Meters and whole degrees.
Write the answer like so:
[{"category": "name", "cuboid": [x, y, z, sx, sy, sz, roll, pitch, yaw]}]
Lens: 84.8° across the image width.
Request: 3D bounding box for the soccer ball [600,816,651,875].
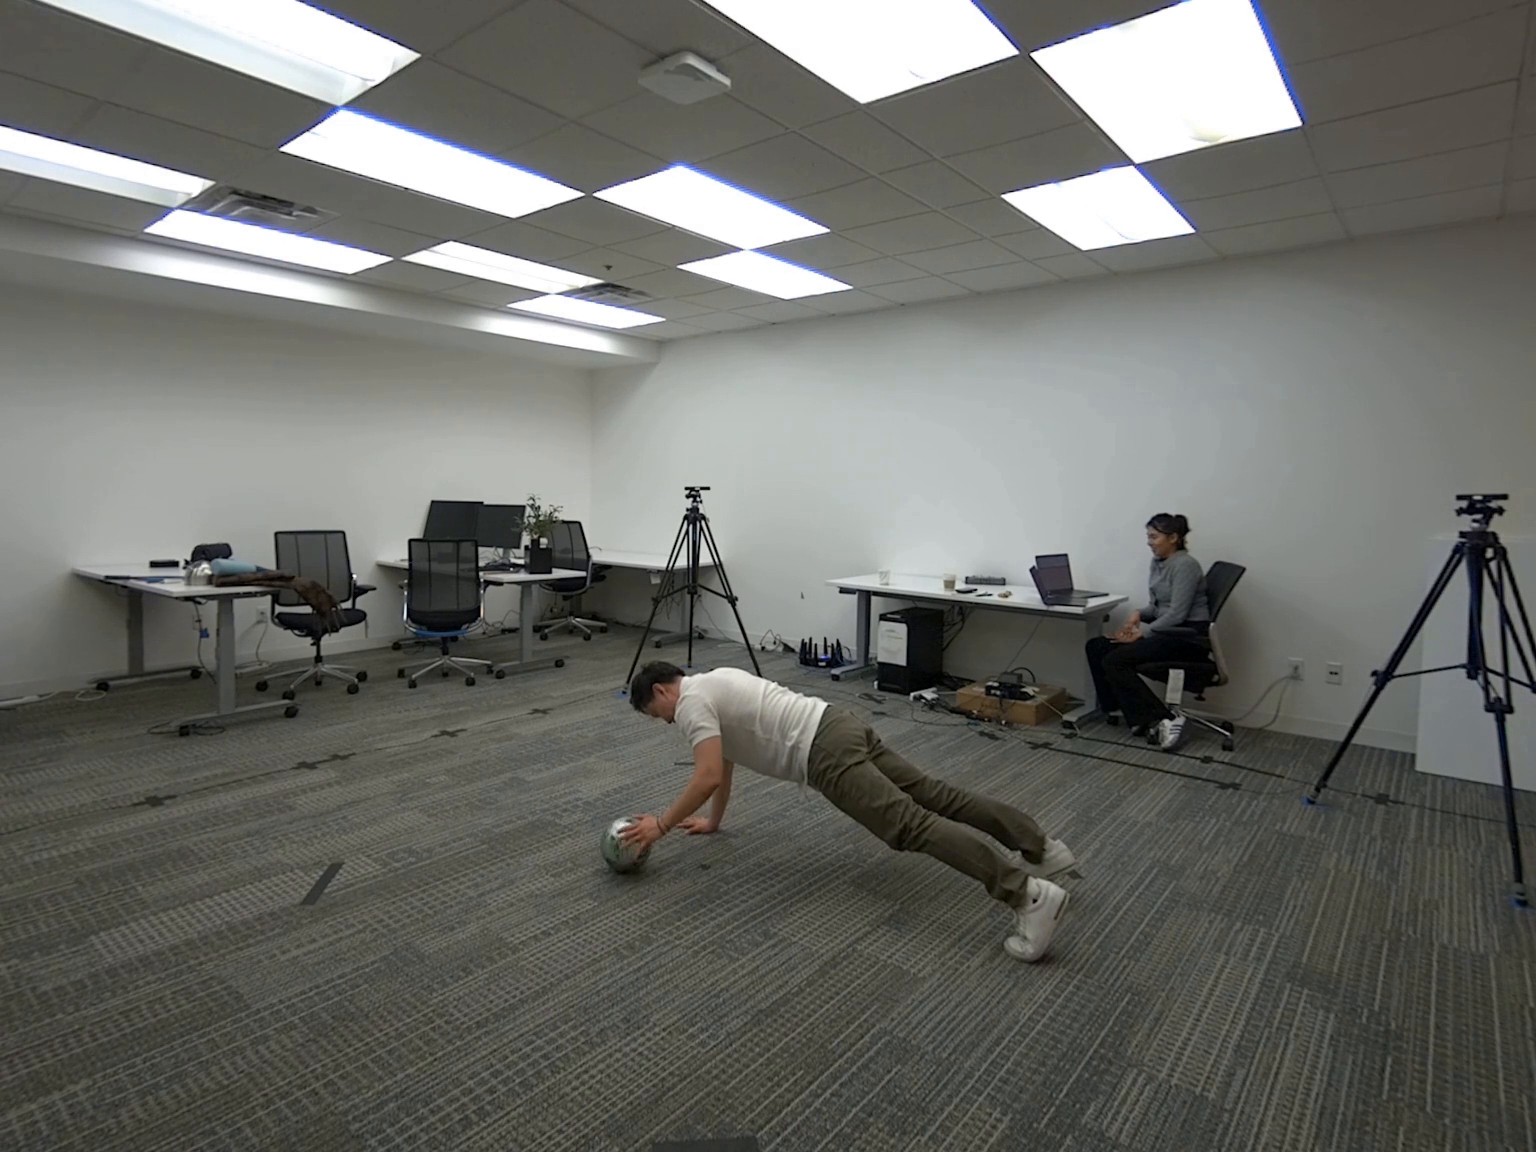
[{"category": "soccer ball", "cuboid": [-0.524, 0.966, 3.087, 0.187, 0.187, 0.188, 1, 4, -2]}]
